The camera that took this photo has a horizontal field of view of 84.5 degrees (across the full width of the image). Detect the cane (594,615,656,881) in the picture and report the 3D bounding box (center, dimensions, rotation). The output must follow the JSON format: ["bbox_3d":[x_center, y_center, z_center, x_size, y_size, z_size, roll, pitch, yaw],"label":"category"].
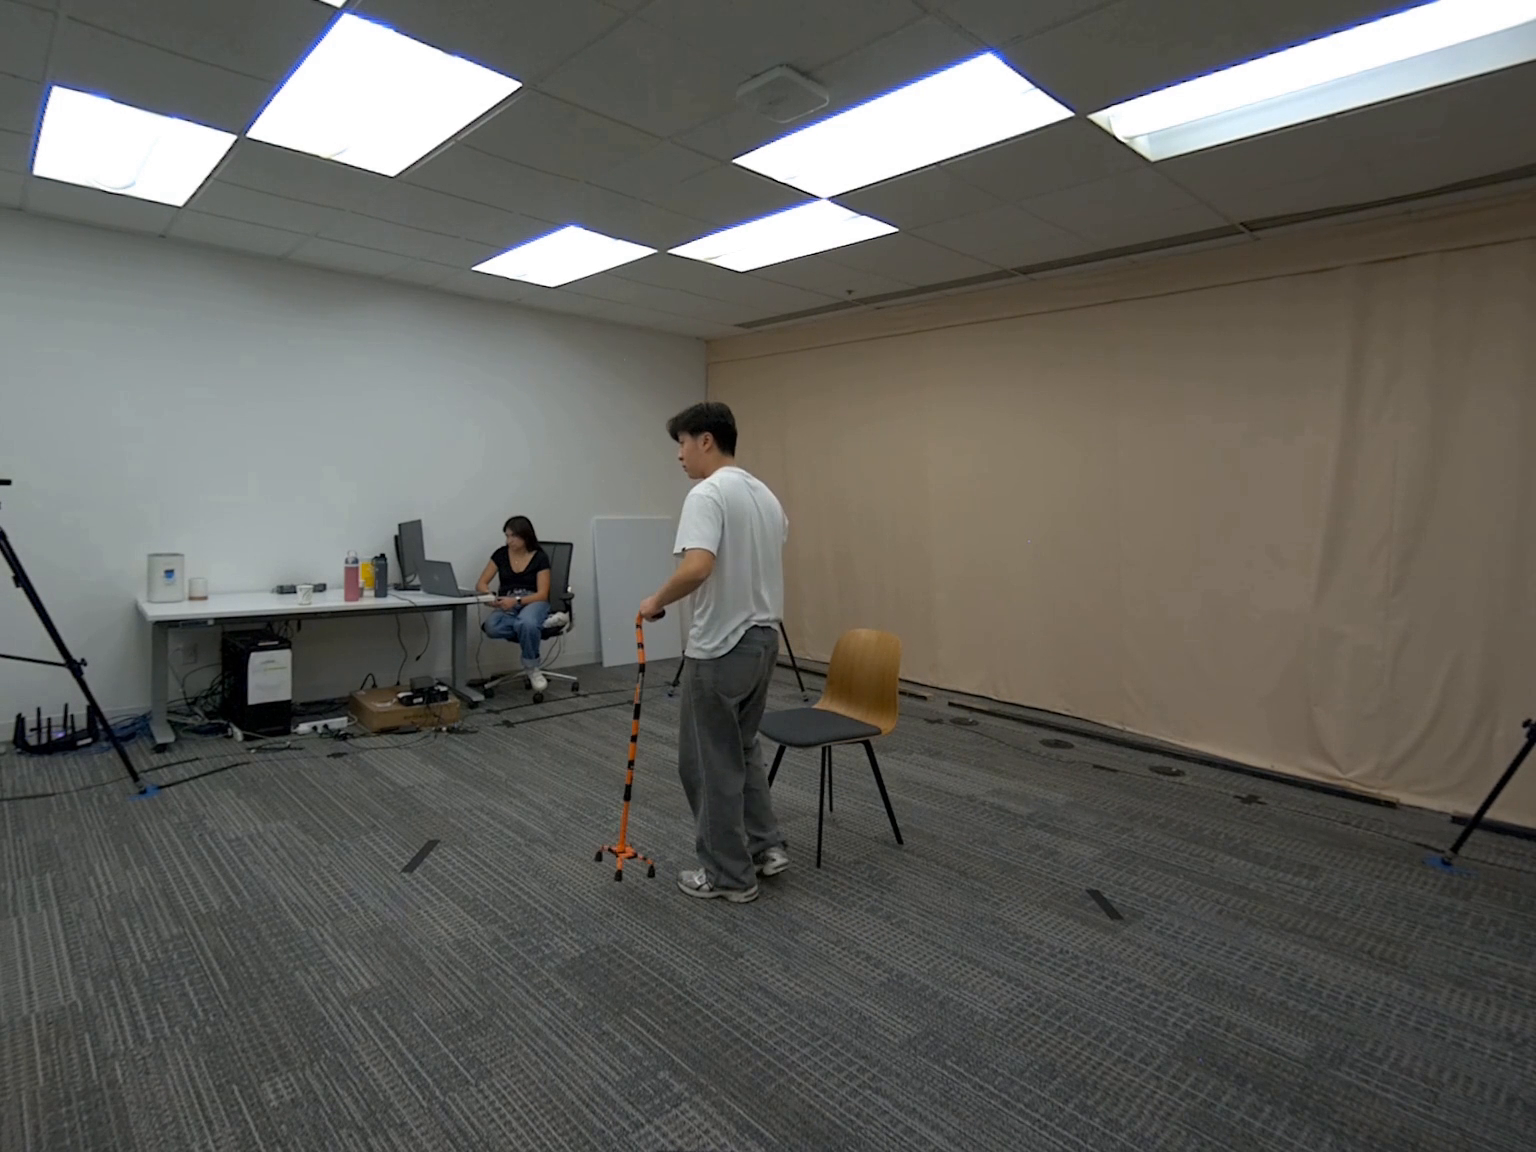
[{"bbox_3d":[-0.443,0.563,2.906,0.148,0.909,0.211,6,-2,-30],"label":"cane"}]
